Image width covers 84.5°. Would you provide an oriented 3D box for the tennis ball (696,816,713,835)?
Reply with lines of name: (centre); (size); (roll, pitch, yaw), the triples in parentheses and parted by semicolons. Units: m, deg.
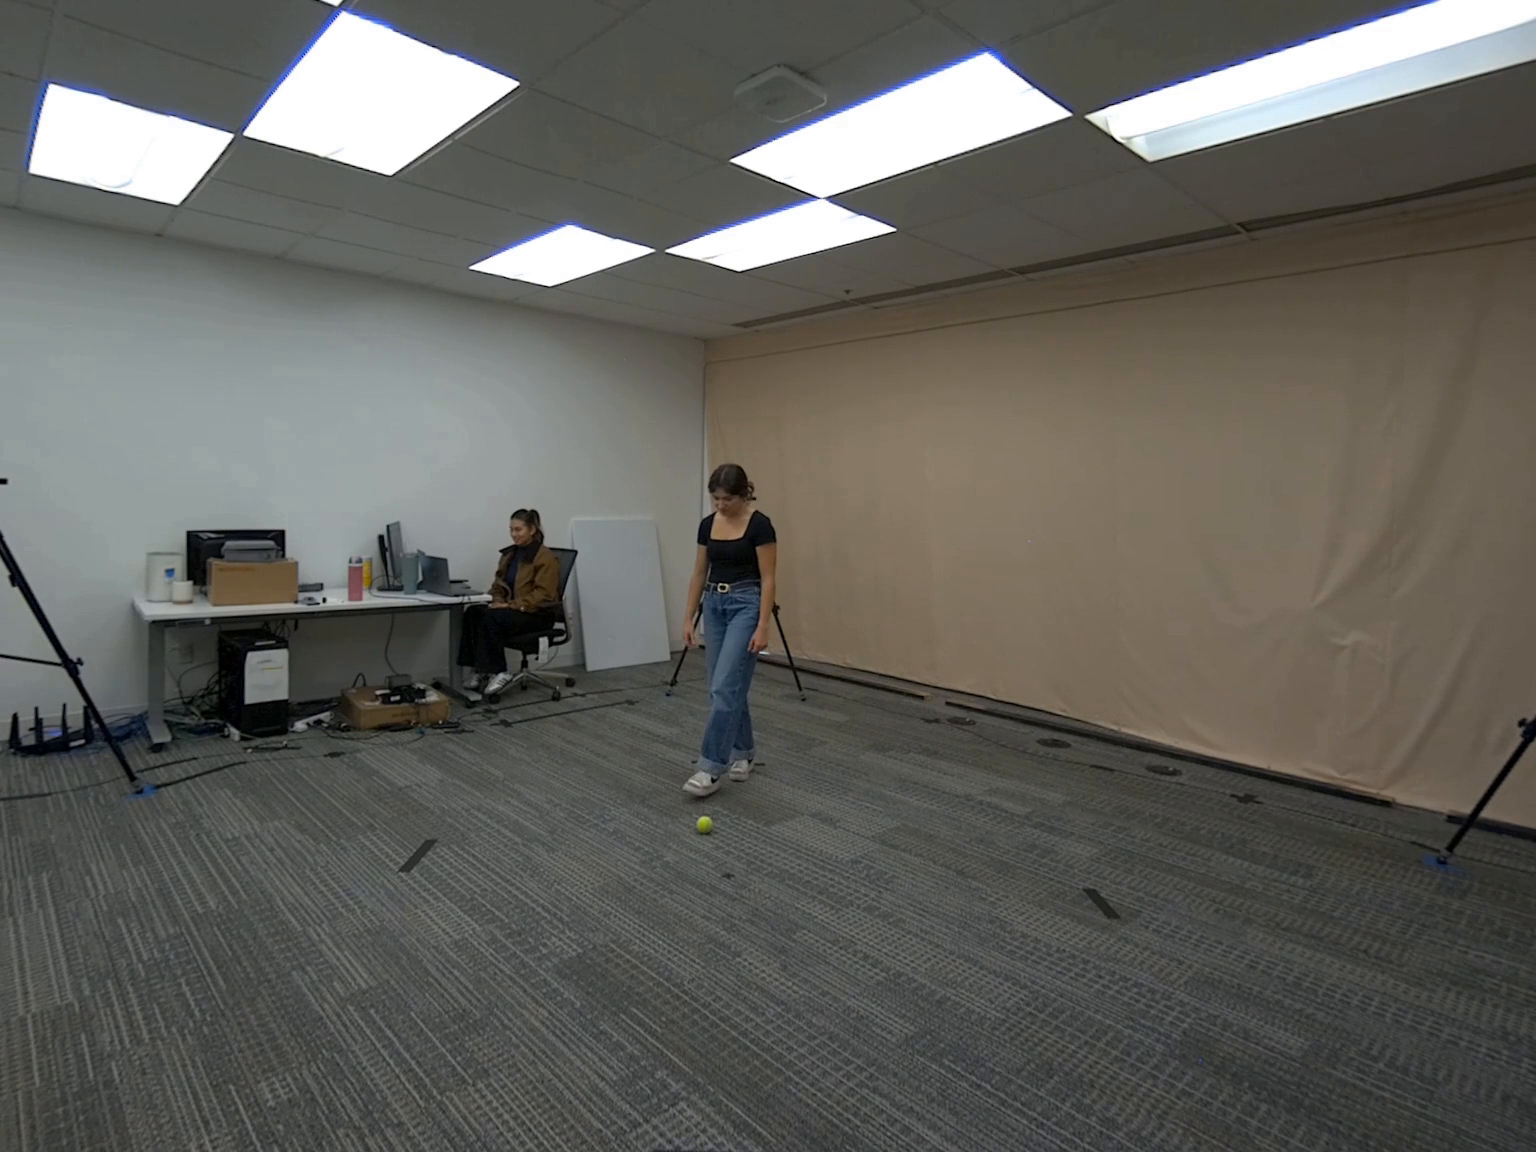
tennis ball: (-0.281, 1.023, 3.509); (0.066, 0.066, 0.067); (1, 4, -1)
